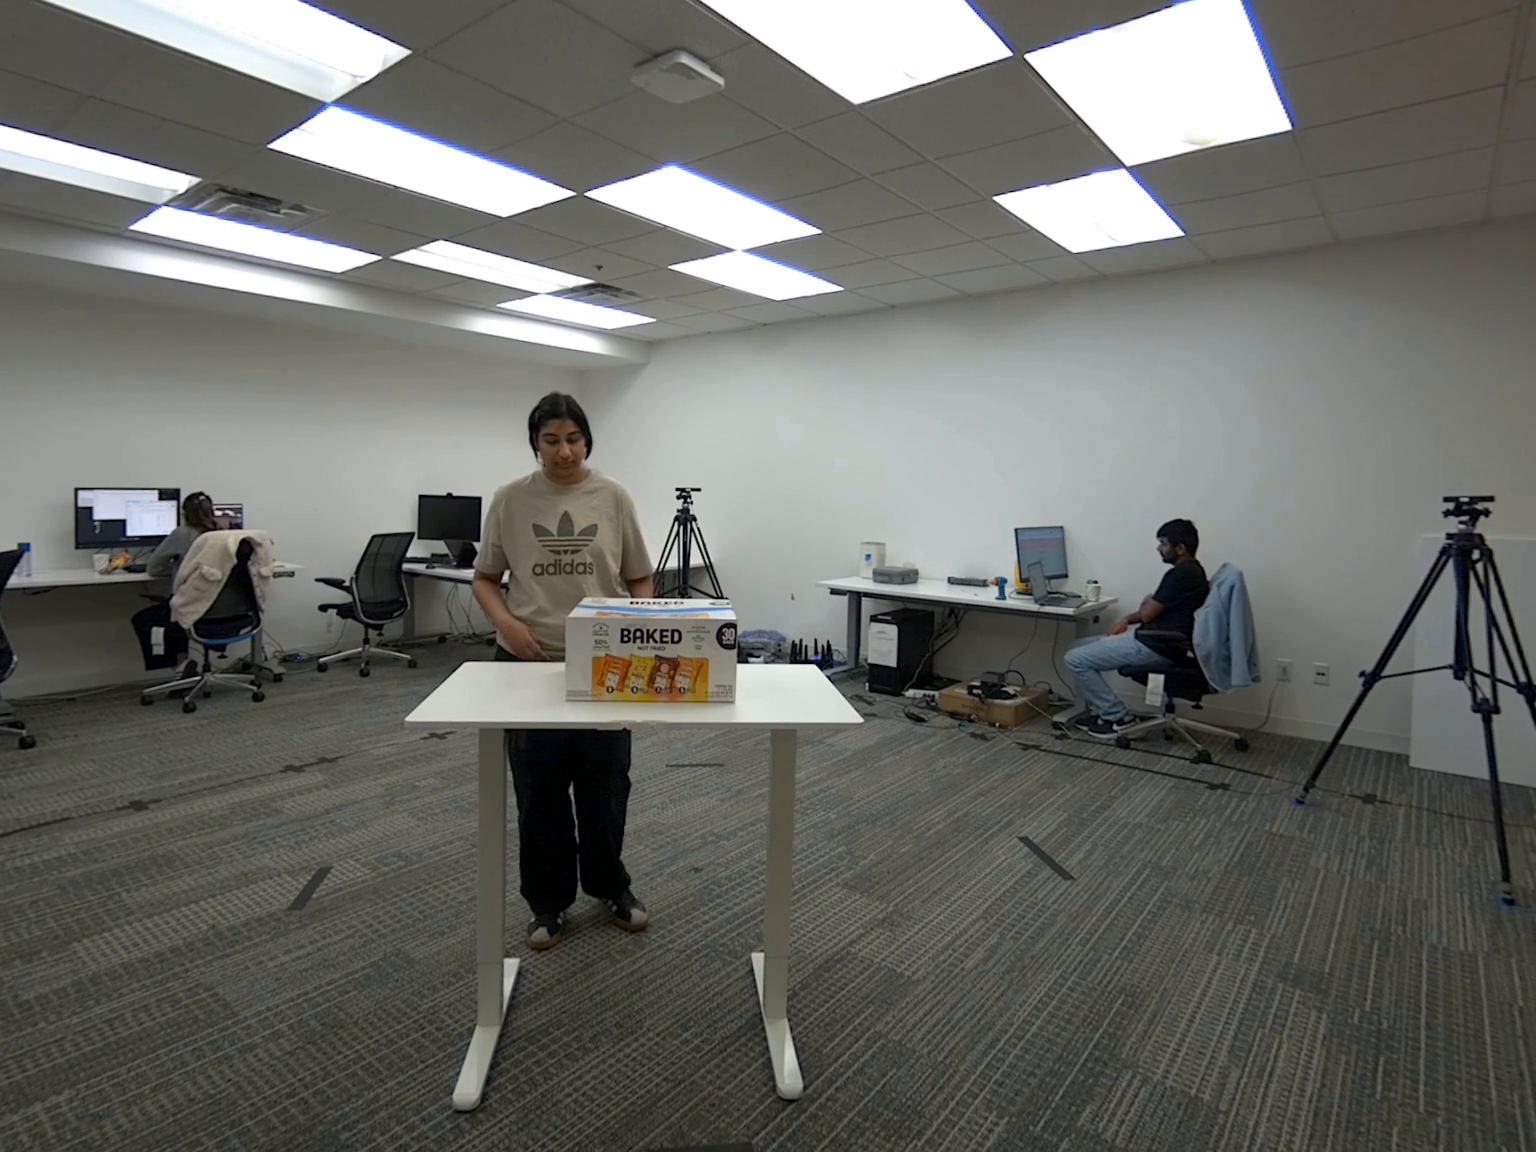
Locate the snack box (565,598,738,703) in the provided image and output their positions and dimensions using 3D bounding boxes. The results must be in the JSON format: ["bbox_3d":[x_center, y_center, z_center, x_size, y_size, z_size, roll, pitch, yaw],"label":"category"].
[{"bbox_3d":[-0.297,0.181,2.172,0.404,0.205,0.343,1,6,-4],"label":"snack box"}]
